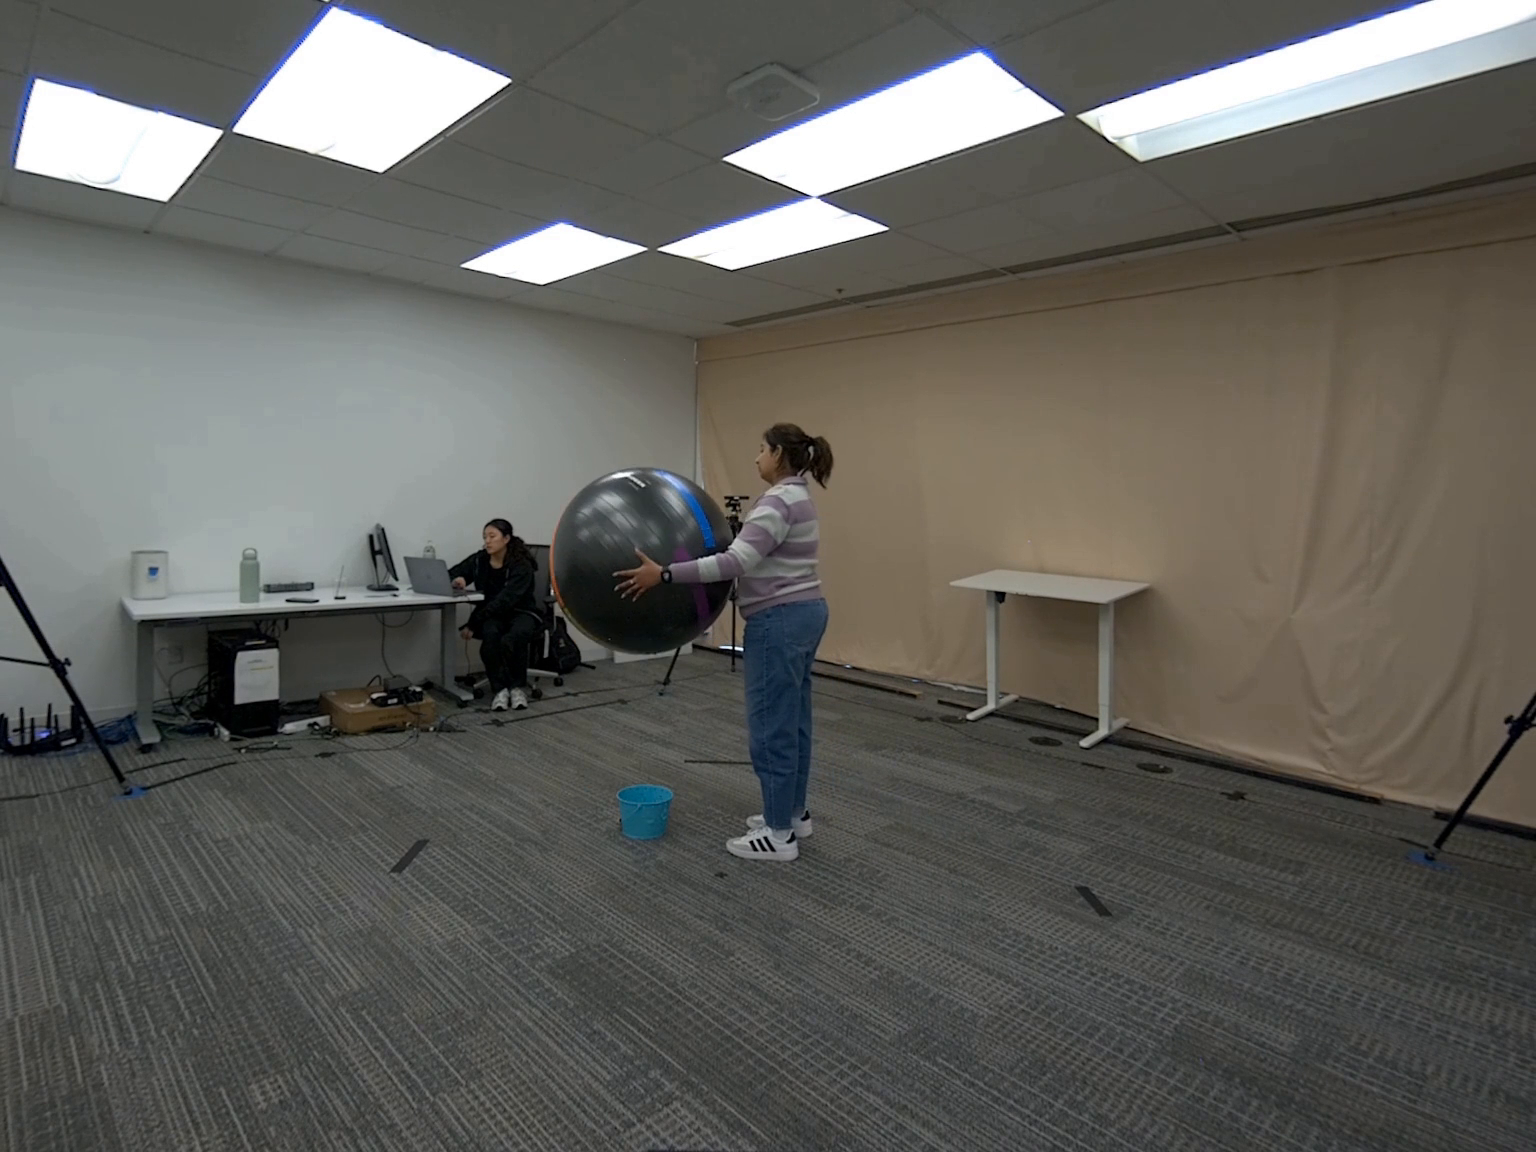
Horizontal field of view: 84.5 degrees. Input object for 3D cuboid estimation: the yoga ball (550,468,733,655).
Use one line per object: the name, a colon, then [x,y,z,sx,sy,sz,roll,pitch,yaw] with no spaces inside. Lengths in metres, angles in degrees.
yoga ball: [-0.518,-0.050,3.442,0.757,0.756,0.761,1,4,-1]
